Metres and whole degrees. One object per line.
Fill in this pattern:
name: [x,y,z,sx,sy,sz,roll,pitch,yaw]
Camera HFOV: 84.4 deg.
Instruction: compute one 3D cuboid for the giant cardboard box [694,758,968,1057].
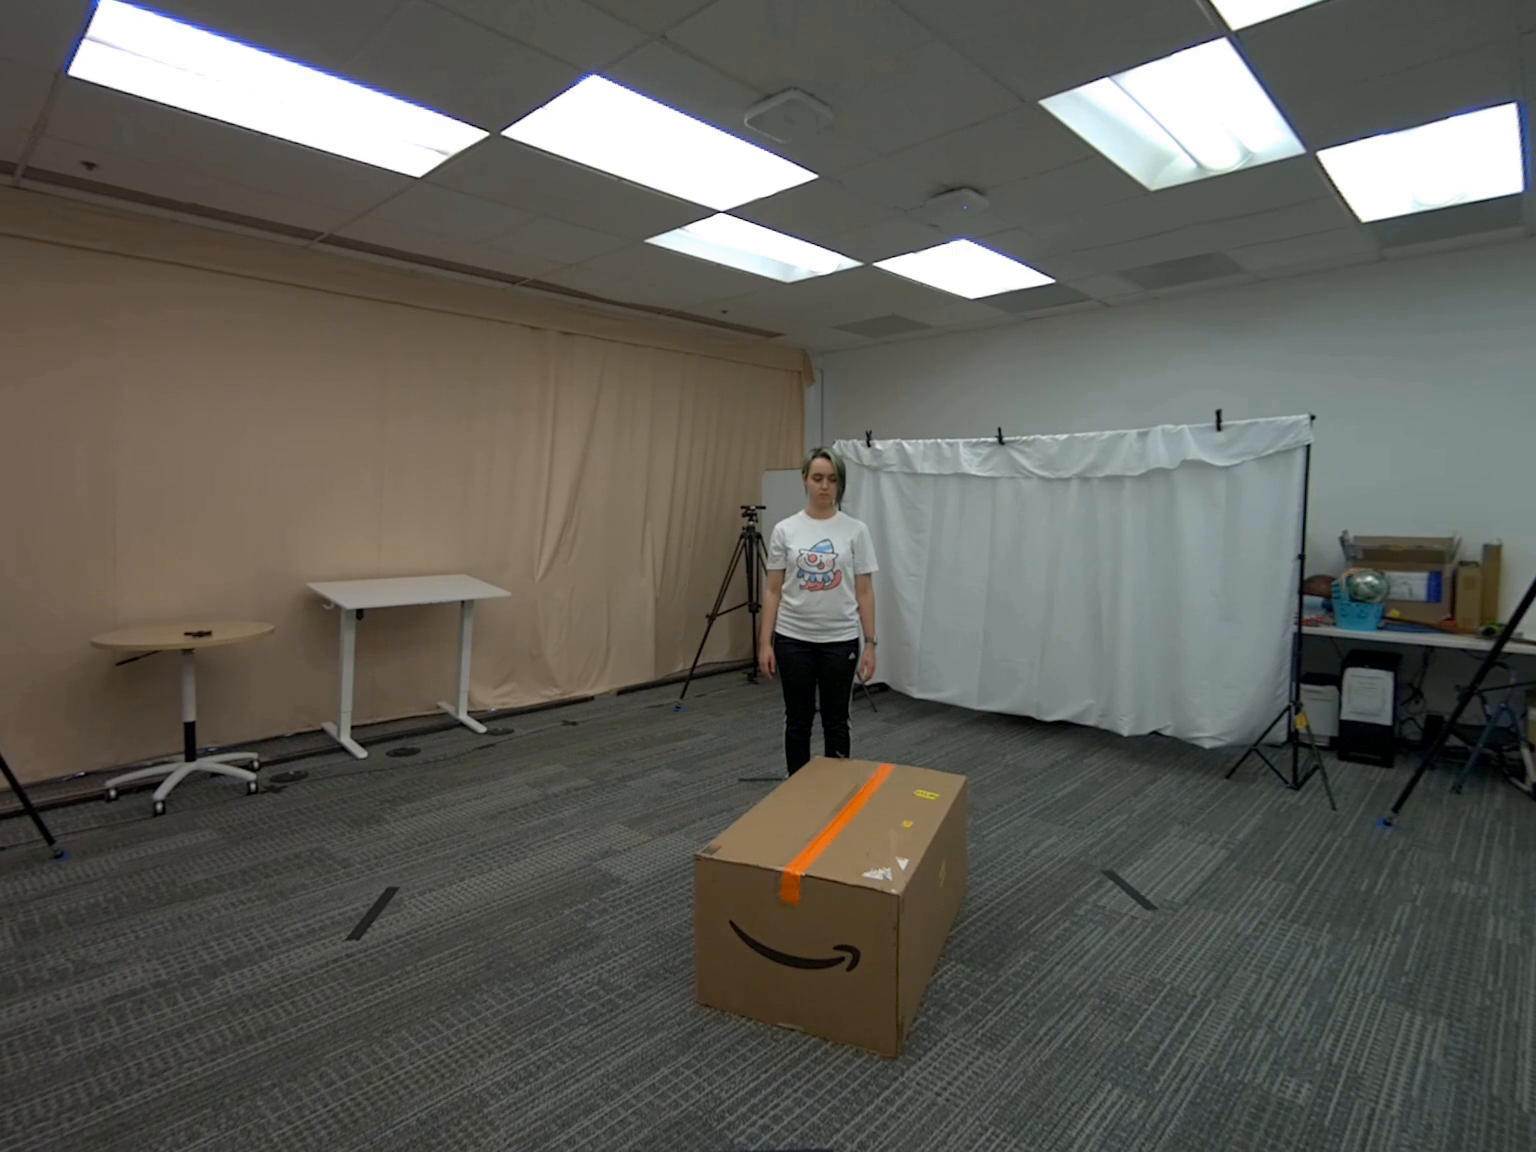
giant cardboard box: [0.255,0.951,2.684,0.592,0.425,1.003,2,5,23]
